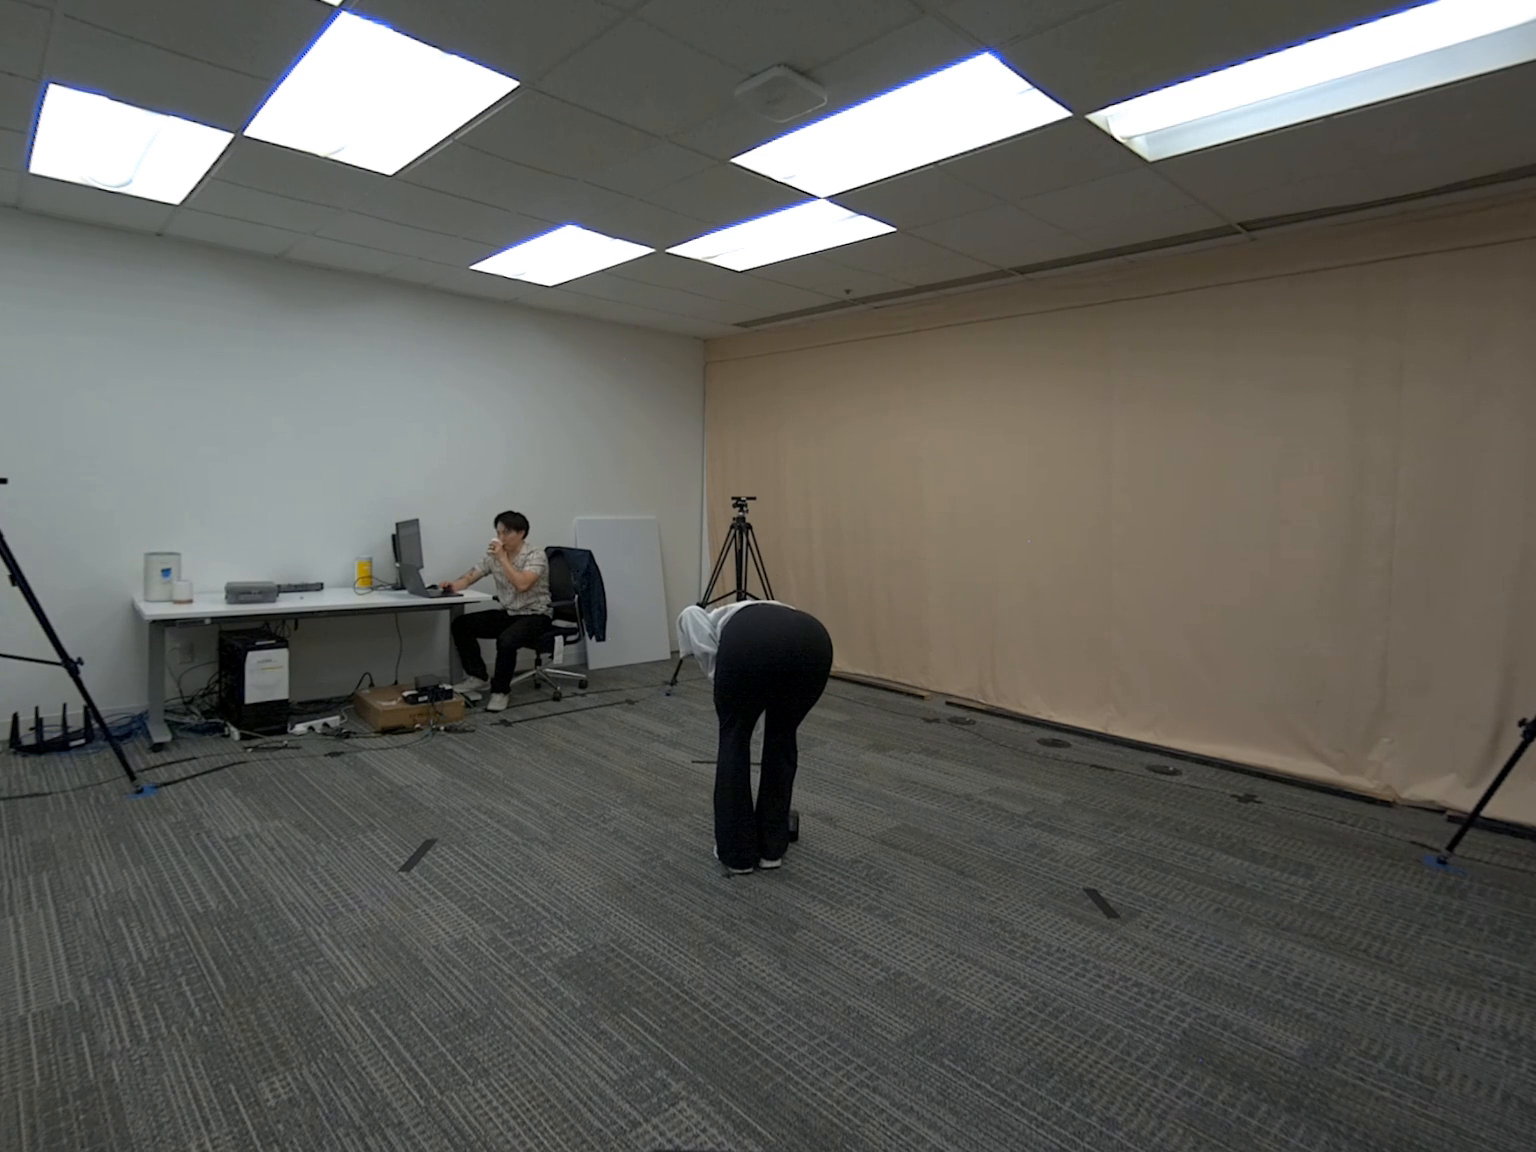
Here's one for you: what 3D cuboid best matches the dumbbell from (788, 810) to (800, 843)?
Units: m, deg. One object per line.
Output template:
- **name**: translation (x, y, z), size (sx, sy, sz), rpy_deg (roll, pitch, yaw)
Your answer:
- **dumbbell**: translation (-0.023, 1.018, 3.467), size (0.294, 0.120, 0.110), rpy_deg (2, 32, 3)
